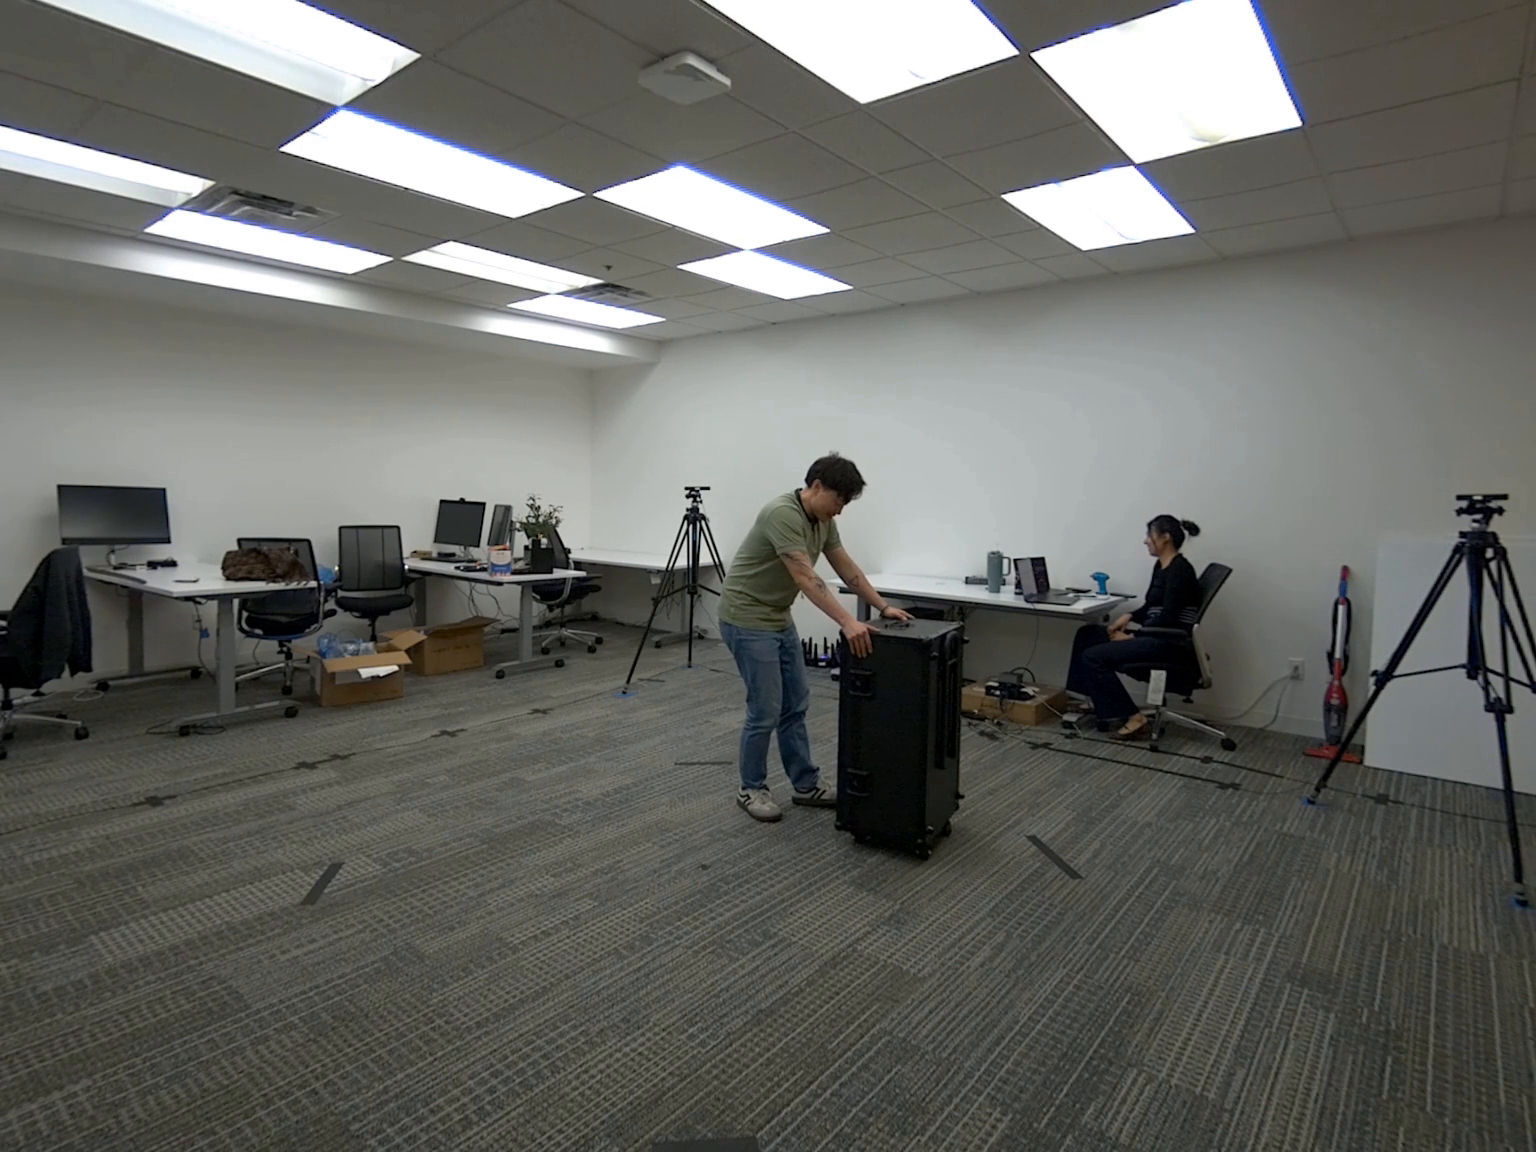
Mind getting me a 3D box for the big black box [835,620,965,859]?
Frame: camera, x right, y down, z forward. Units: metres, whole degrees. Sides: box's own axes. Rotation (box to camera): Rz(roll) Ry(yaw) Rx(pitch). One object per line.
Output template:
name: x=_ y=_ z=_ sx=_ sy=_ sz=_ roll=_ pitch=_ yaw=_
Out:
big black box: x=0.544 y=0.622 z=3.408 sx=0.408 sy=0.858 sz=0.508 roll=4 pitch=5 yaw=29
